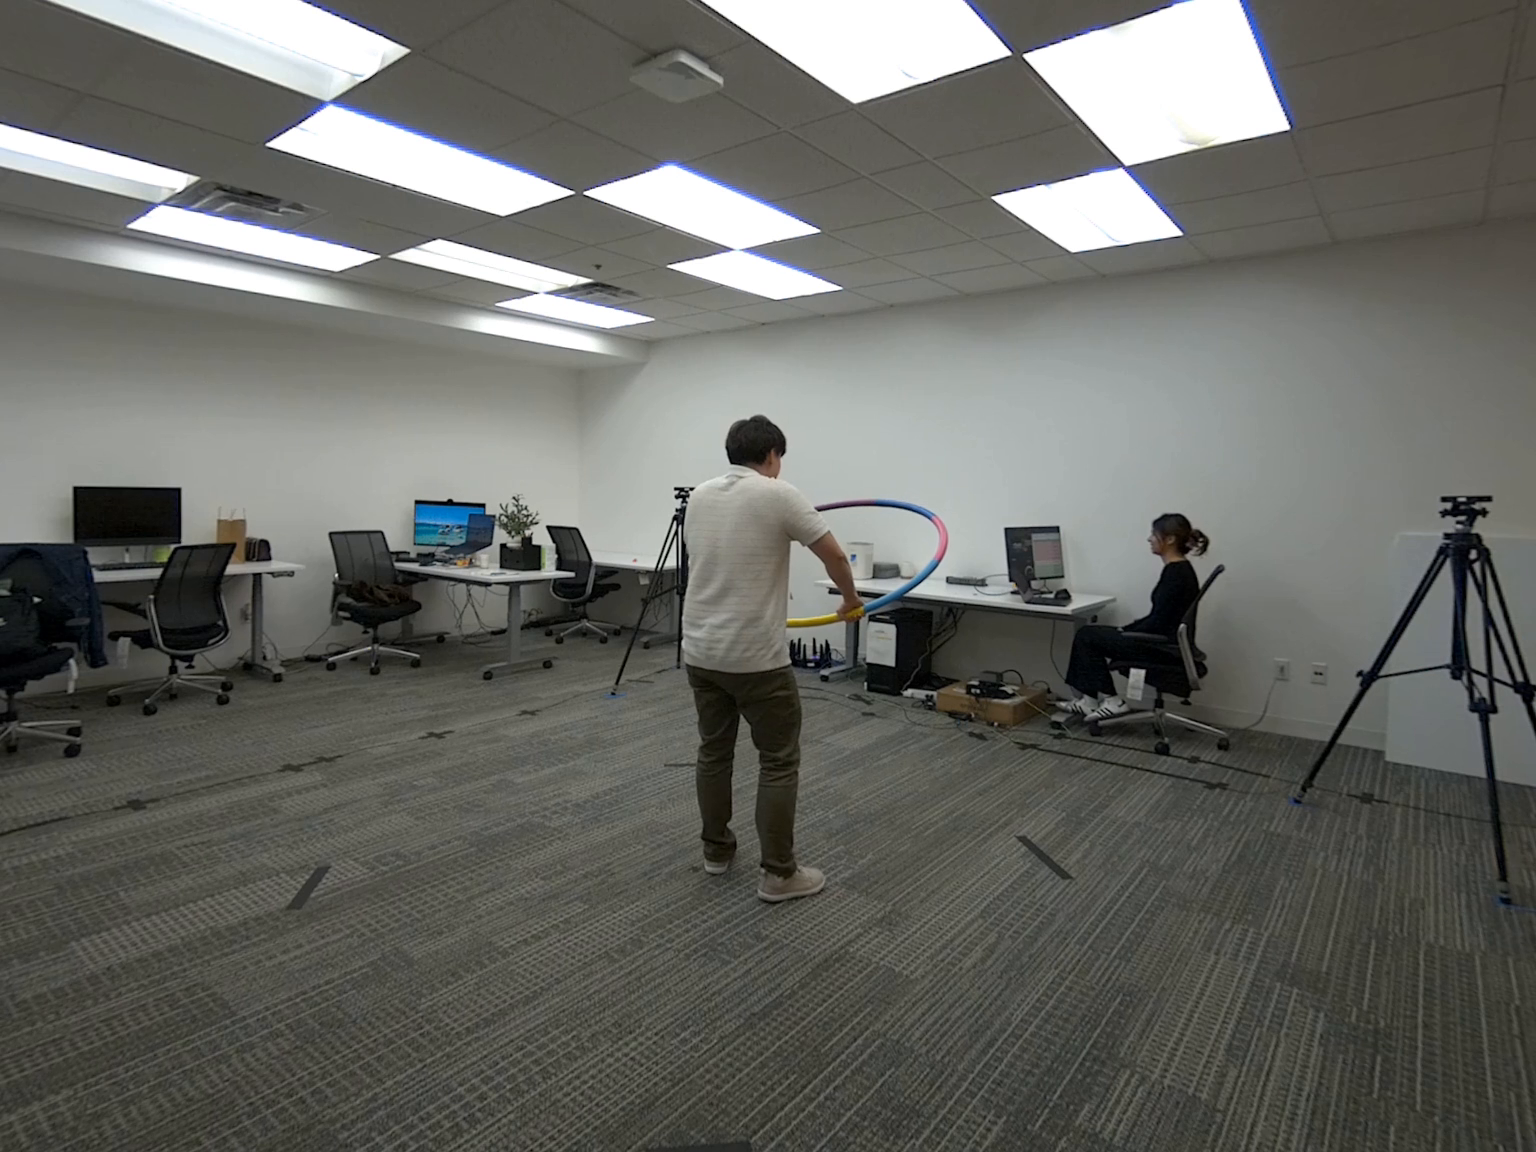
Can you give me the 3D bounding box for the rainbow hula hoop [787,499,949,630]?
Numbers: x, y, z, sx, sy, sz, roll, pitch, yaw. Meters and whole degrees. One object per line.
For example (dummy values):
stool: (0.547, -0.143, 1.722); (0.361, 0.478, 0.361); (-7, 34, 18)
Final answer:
rainbow hula hoop: (0.246, -0.082, 3.557); (0.984, 0.034, 1.003); (-16, 28, 6)
